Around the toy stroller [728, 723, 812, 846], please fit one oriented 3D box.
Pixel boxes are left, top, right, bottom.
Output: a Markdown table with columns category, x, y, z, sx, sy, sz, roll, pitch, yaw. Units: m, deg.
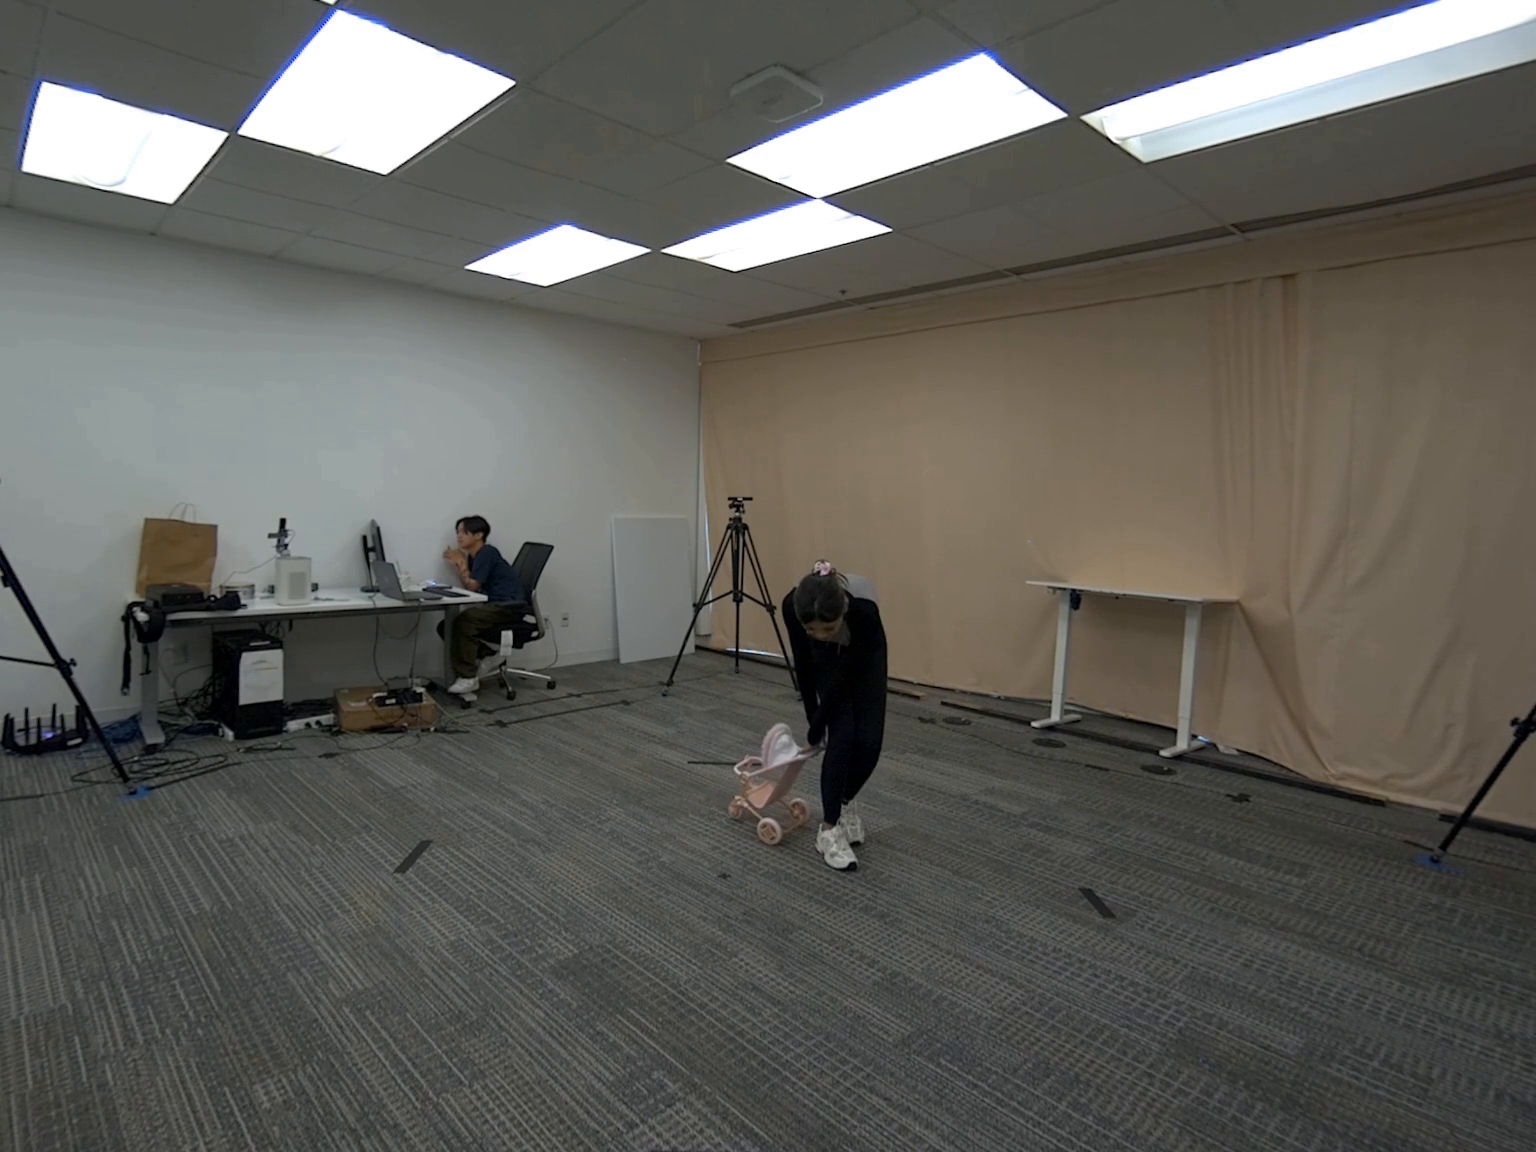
| category | x | y | z | sx | sy | sz | roll | pitch | yaw |
| --- | --- | --- | --- | --- | --- | --- | --- | --- | --- |
| toy stroller | 0.017 | 0.846 | 3.519 | 0.351 | 0.530 | 0.276 | 26 | 20 | 34 |
